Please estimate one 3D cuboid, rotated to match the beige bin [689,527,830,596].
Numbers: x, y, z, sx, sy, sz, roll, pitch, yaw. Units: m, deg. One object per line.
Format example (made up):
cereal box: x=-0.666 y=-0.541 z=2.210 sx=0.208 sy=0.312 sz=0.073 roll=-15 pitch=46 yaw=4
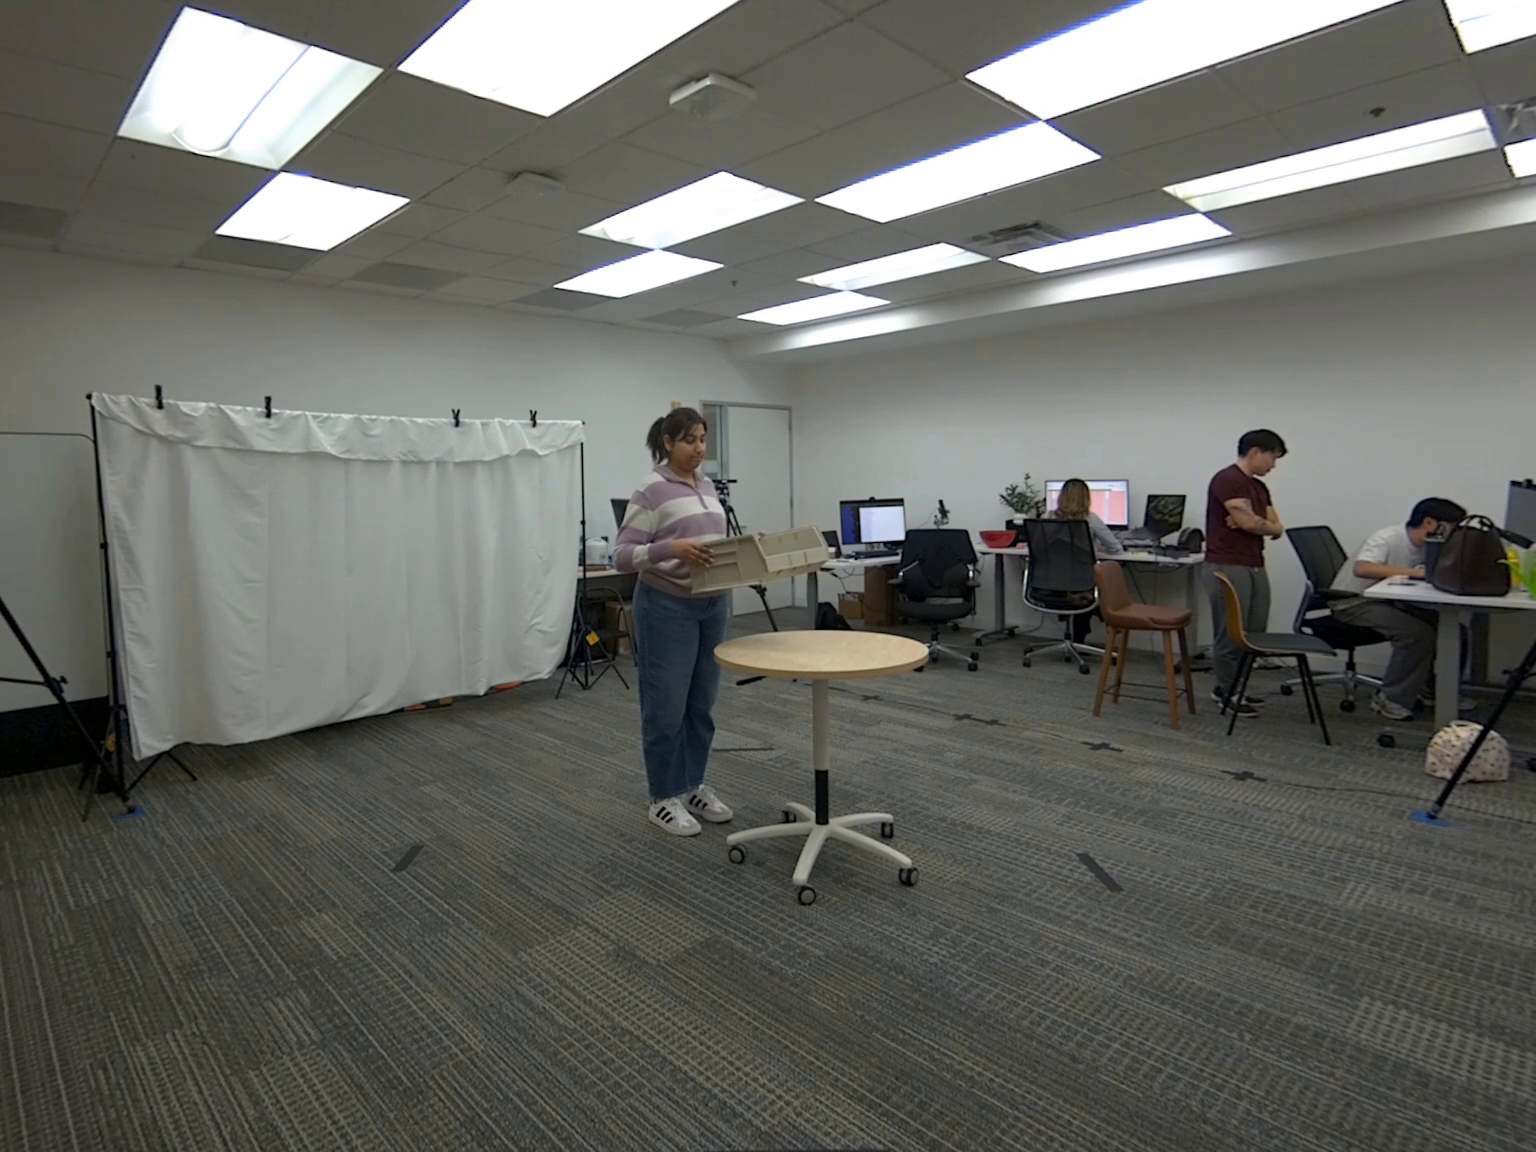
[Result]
beige bin: x=-0.036 y=-0.062 z=3.205 sx=0.386 sy=0.189 sz=0.412 roll=-10 pitch=1 yaw=37
